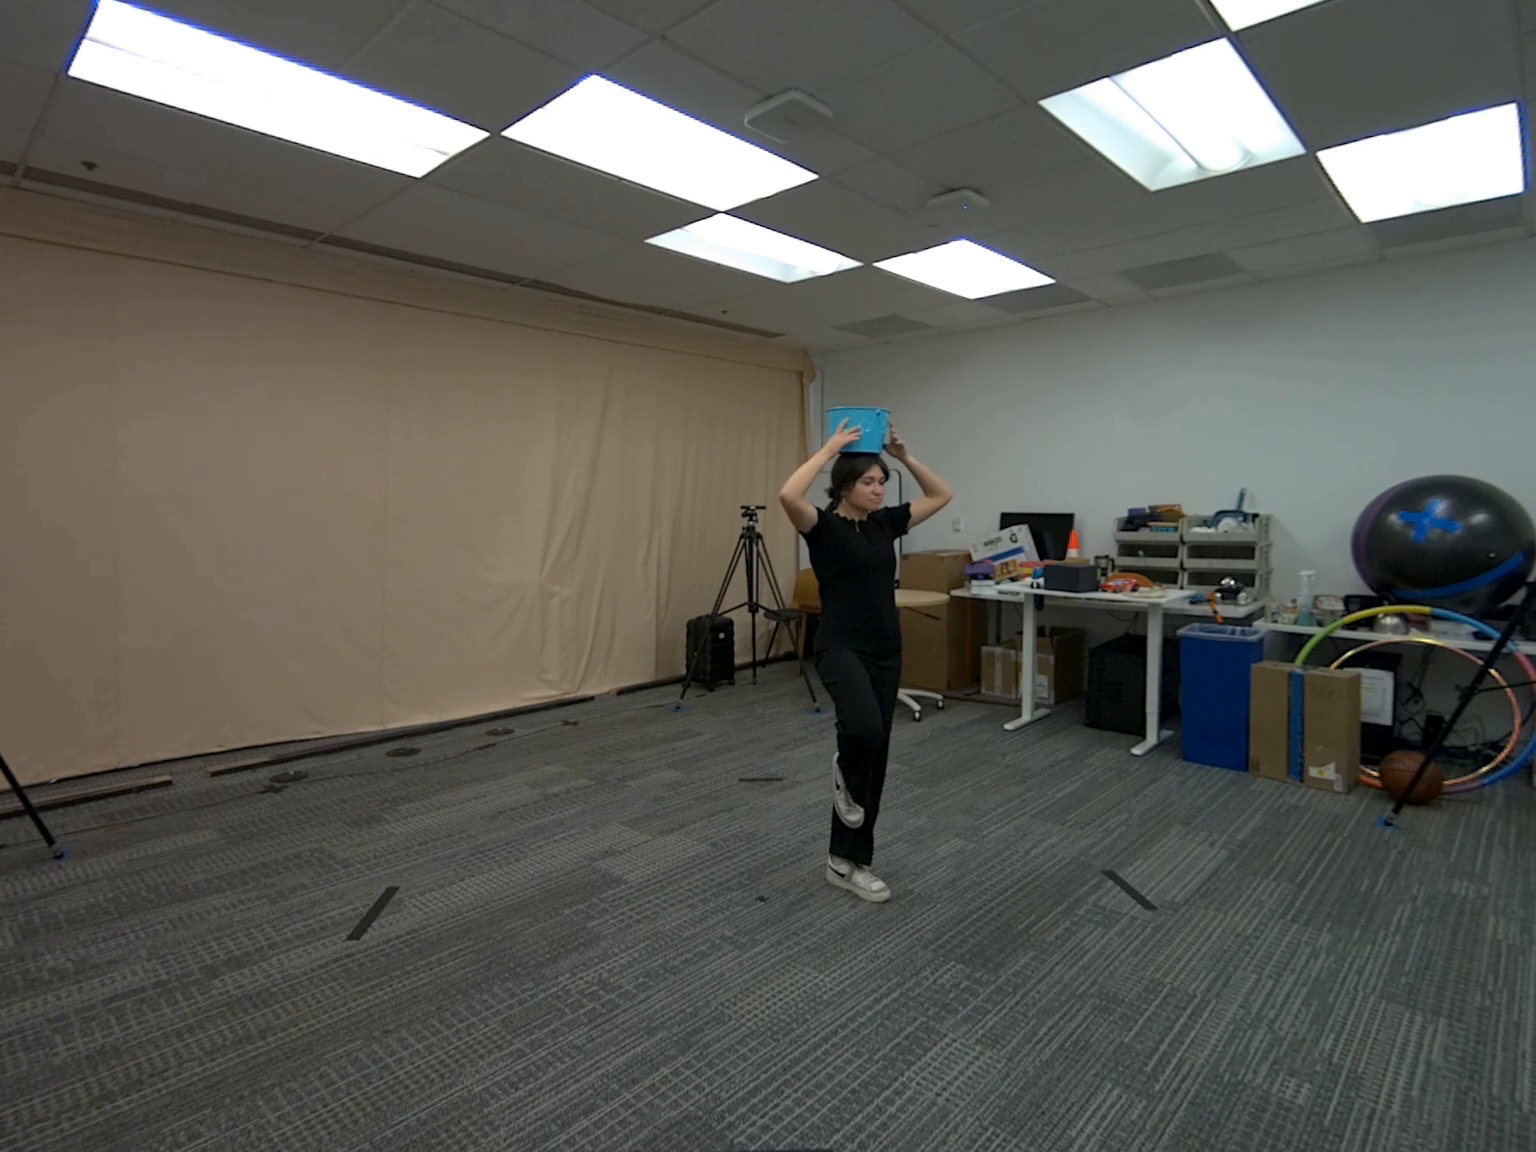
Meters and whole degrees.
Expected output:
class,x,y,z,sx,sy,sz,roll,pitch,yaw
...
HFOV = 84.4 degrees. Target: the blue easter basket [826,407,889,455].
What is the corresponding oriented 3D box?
class,x,y,z,sx,sy,sz,roll,pitch,yaw
blue easter basket,0.333,-0.519,3.039,0.243,0.155,0.244,2,4,-2
